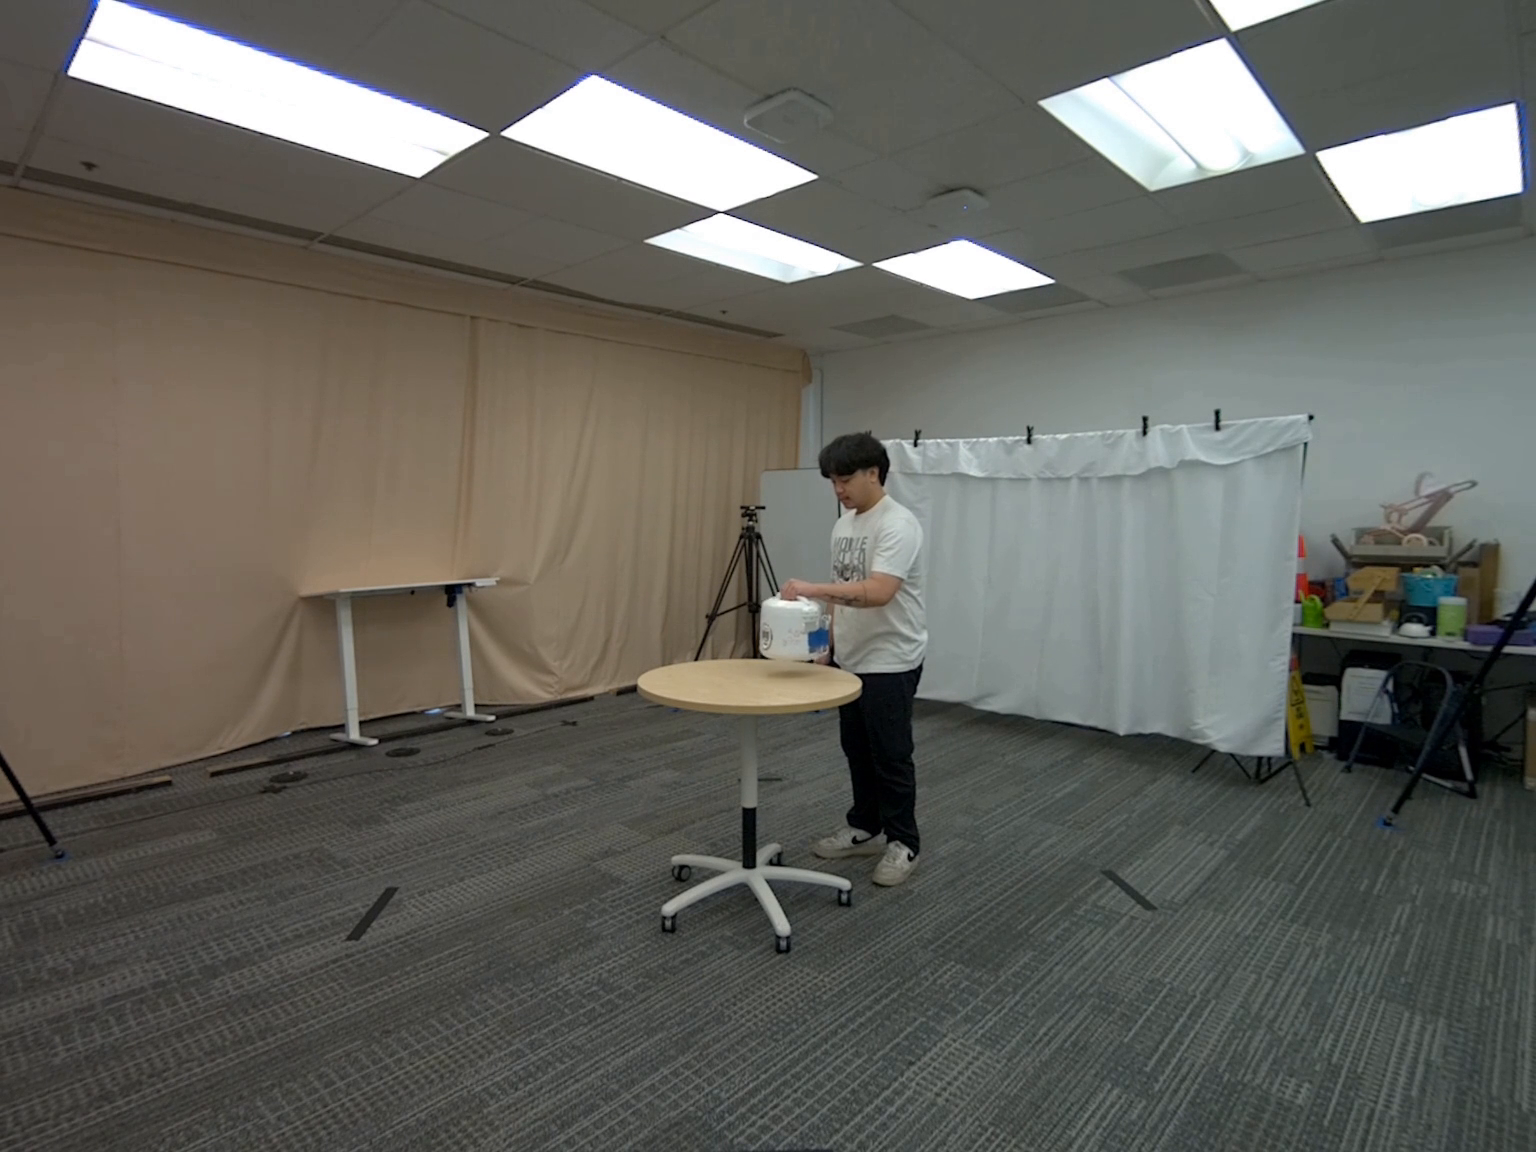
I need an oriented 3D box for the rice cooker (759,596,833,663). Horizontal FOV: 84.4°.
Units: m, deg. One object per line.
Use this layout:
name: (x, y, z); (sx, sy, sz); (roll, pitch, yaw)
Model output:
rice cooker: (0.082, 0.169, 2.947); (0.211, 0.232, 0.227); (2, 3, -32)
